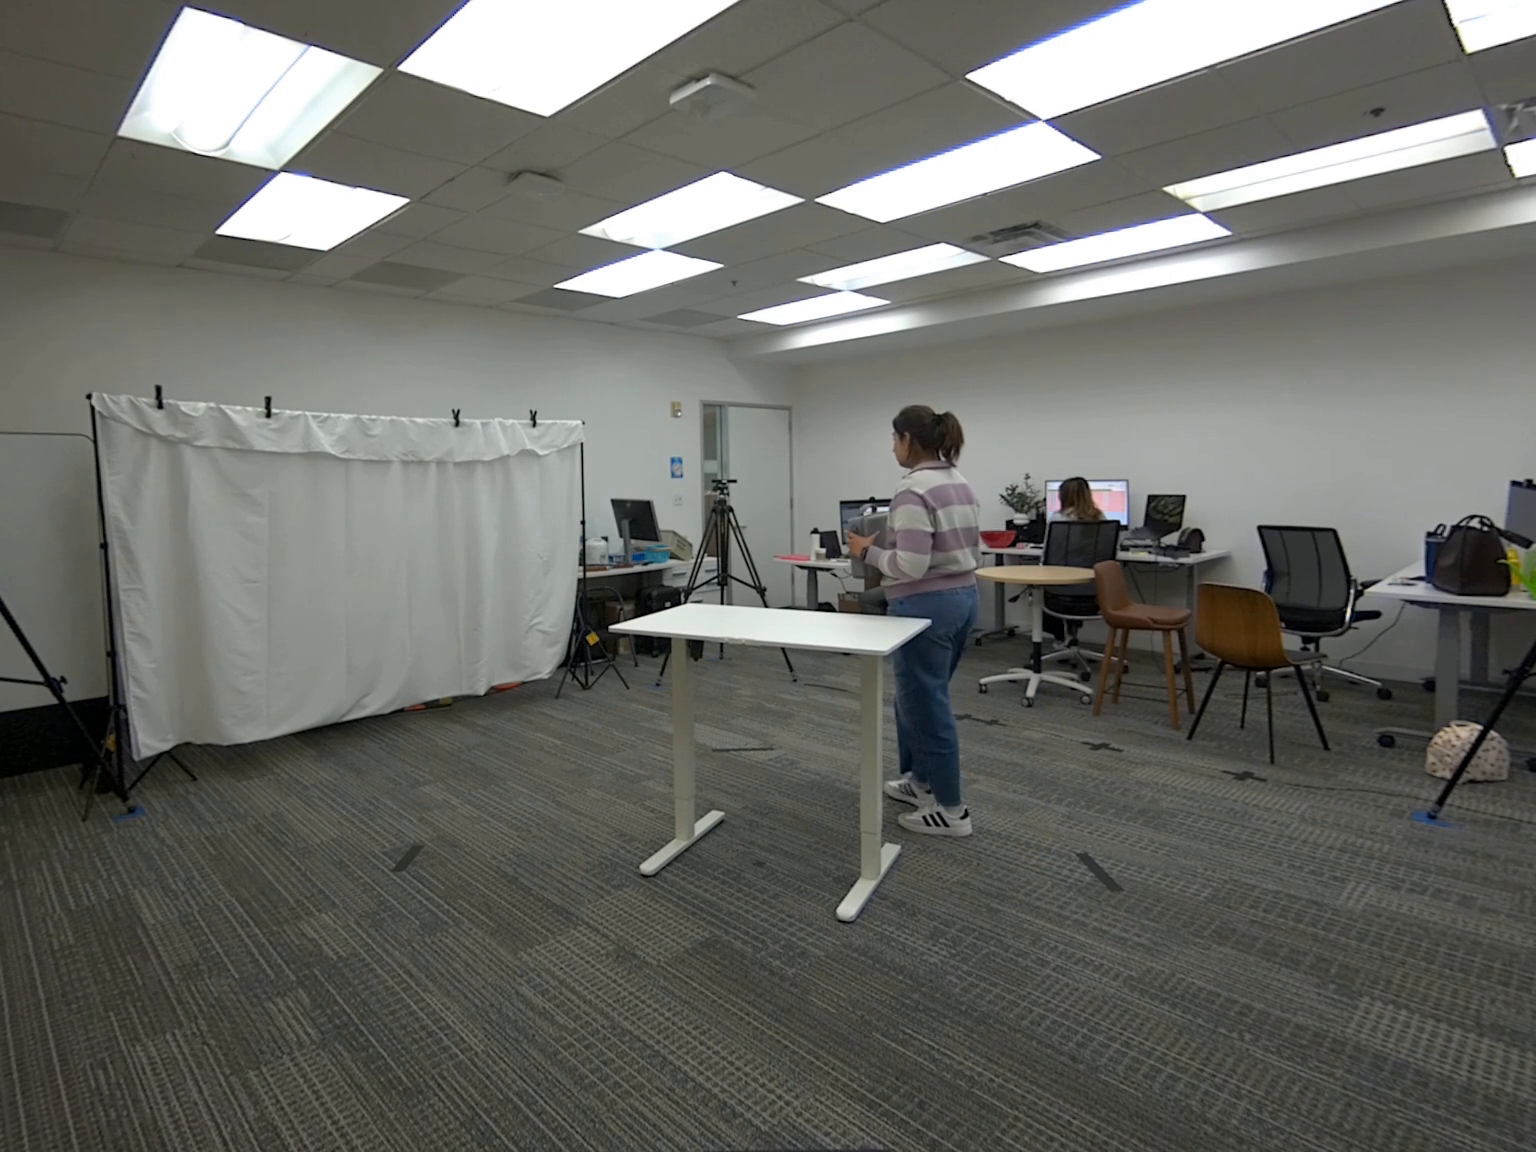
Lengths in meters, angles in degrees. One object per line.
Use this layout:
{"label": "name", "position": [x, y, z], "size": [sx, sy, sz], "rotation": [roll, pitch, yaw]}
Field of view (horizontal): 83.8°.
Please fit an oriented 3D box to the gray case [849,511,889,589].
{"label": "gray case", "position": [0.427, -0.130, 3.483], "size": [0.107, 0.259, 0.252], "rotation": [-3, 6, 31]}
